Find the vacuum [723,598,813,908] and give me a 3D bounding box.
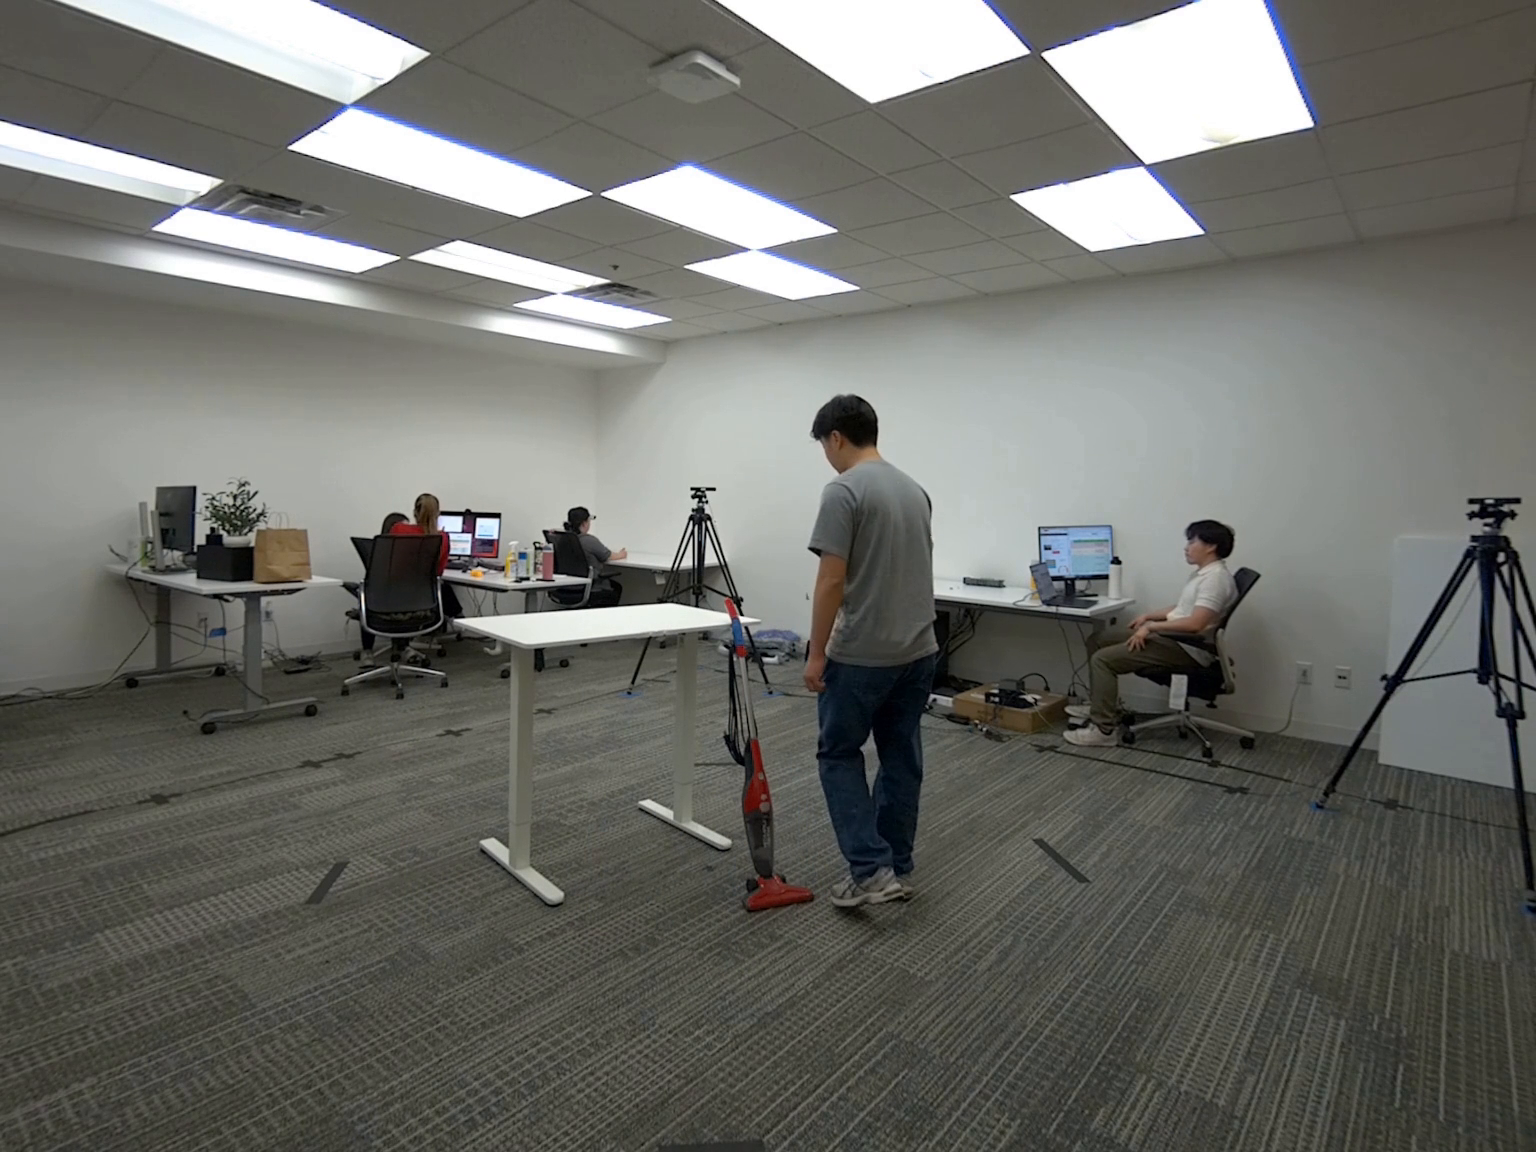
[{"bbox_3d":[-0.073,0.599,3.081,0.244,1.073,0.145,7,-27,-34],"label":"vacuum"}]
